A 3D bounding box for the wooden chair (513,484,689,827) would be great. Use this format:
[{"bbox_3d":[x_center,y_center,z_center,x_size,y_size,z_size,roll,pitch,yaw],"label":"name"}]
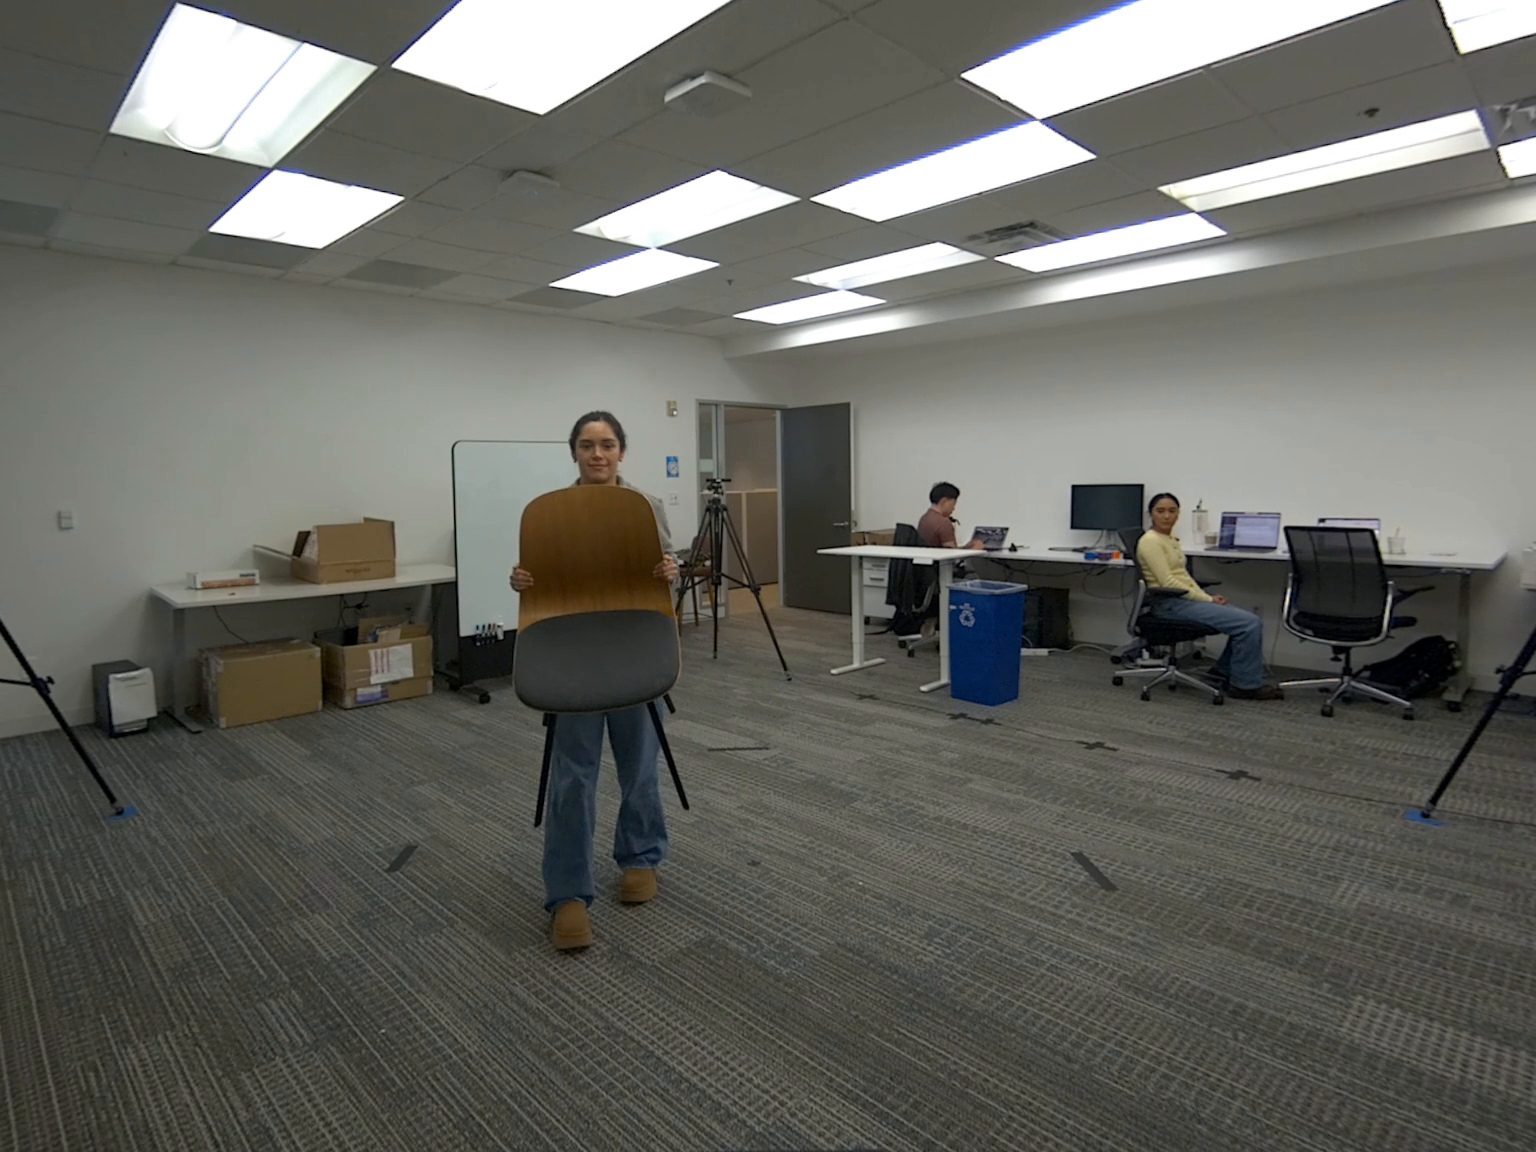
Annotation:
[{"bbox_3d":[-0.497,0.238,2.487,0.475,0.859,0.537,-4,25,-7],"label":"wooden chair"}]
